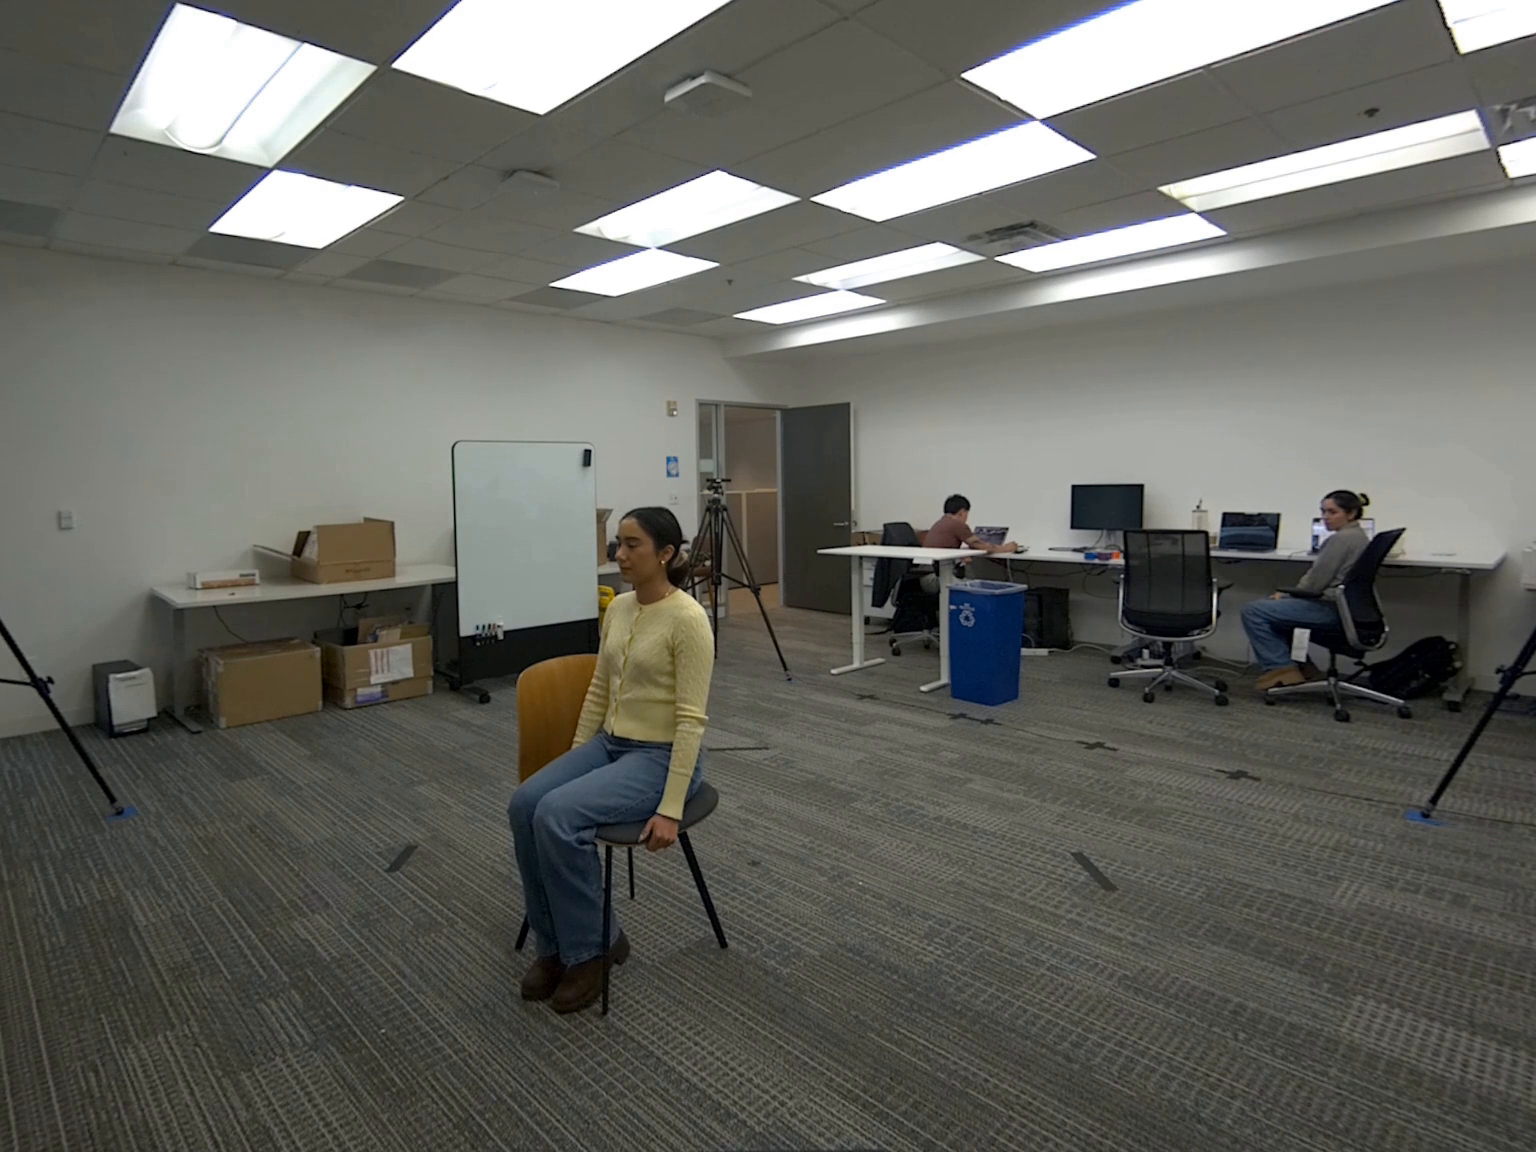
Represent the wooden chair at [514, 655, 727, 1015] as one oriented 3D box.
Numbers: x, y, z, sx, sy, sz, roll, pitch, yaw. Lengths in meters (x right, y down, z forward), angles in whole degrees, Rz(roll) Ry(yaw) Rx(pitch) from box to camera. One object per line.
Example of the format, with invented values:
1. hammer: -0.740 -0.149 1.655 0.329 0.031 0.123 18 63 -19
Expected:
1. wooden chair: -0.437 0.696 2.524 0.538 0.876 0.466 -2 3 45
